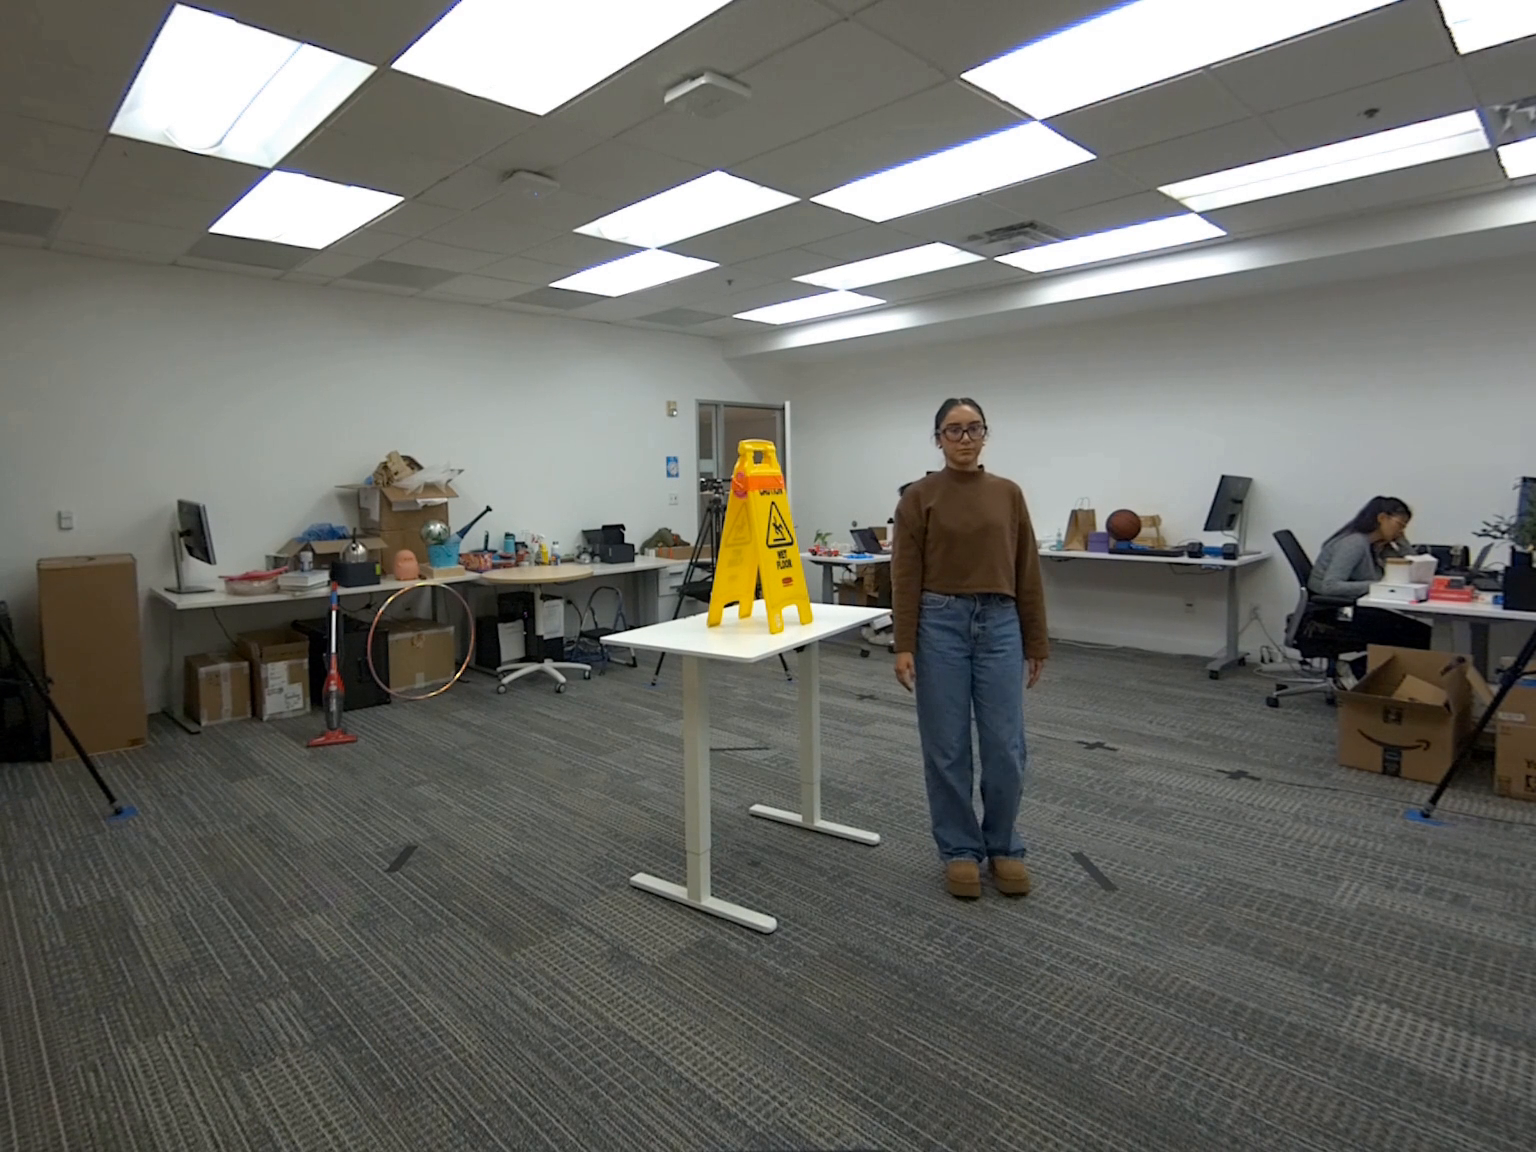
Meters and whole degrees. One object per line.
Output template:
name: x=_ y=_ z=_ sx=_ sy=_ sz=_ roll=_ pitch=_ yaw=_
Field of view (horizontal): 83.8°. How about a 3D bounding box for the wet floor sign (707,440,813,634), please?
wet floor sign: x=-0.031 y=-0.151 z=3.005 sx=0.297 sy=0.644 sz=0.275 roll=1 pitch=3 yaw=33
